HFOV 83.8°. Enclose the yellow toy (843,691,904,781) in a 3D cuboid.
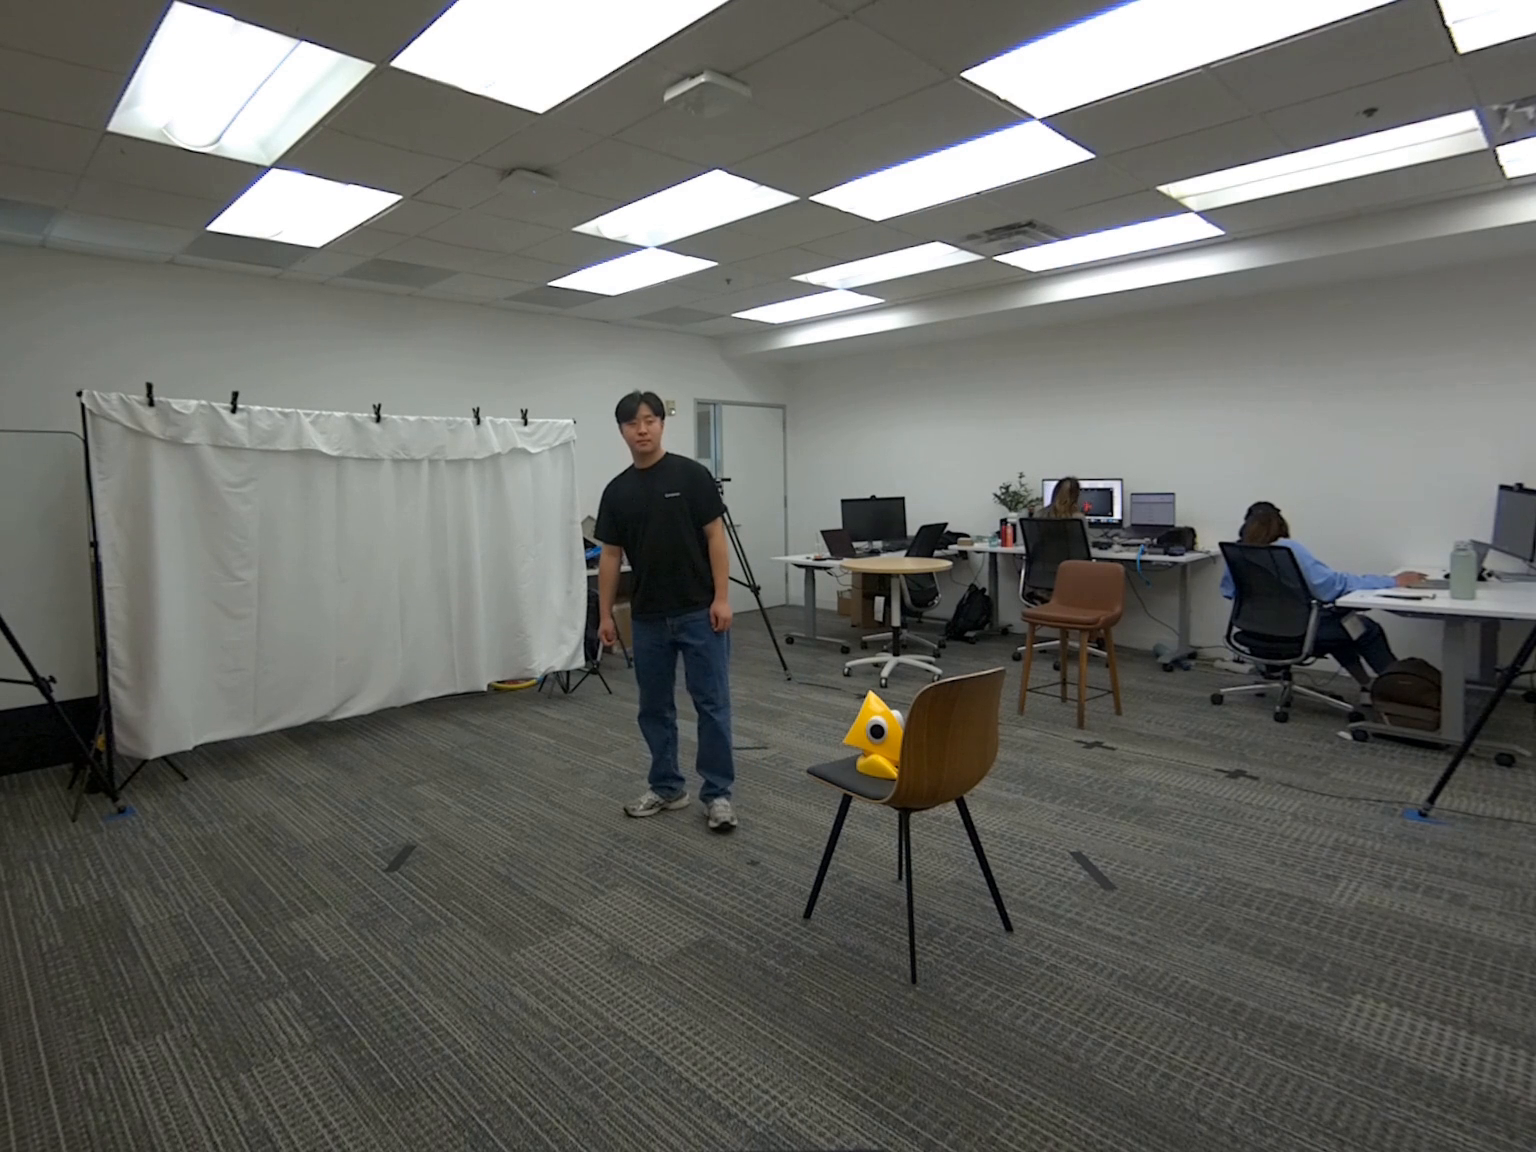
[{"bbox_3d":[0.378,0.488,2.684,0.199,0.229,0.199,7,9,43],"label":"yellow toy"}]
